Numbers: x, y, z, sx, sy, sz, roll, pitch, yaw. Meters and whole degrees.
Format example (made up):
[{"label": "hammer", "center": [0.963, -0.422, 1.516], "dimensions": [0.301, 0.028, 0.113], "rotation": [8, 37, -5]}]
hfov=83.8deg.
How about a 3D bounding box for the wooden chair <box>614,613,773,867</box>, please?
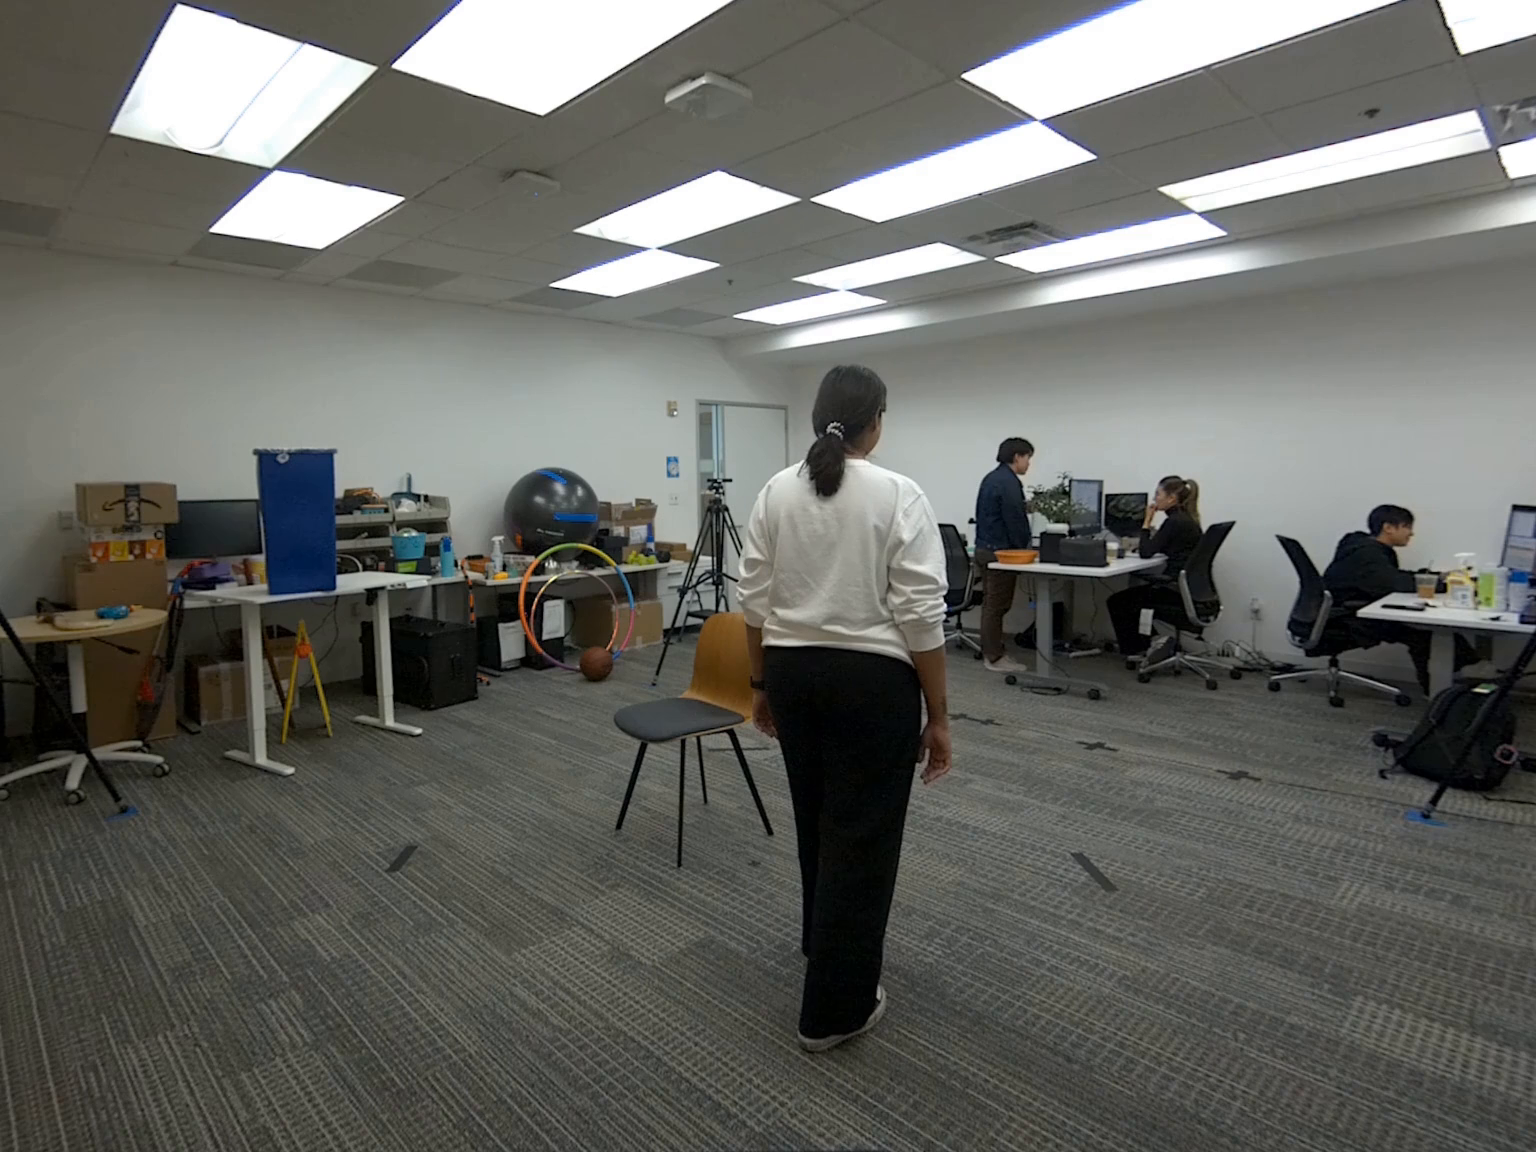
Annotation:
[{"label": "wooden chair", "center": [-0.307, 0.593, 3.358], "dimensions": [0.508, 0.876, 0.492], "rotation": [1, 2, -39]}]
